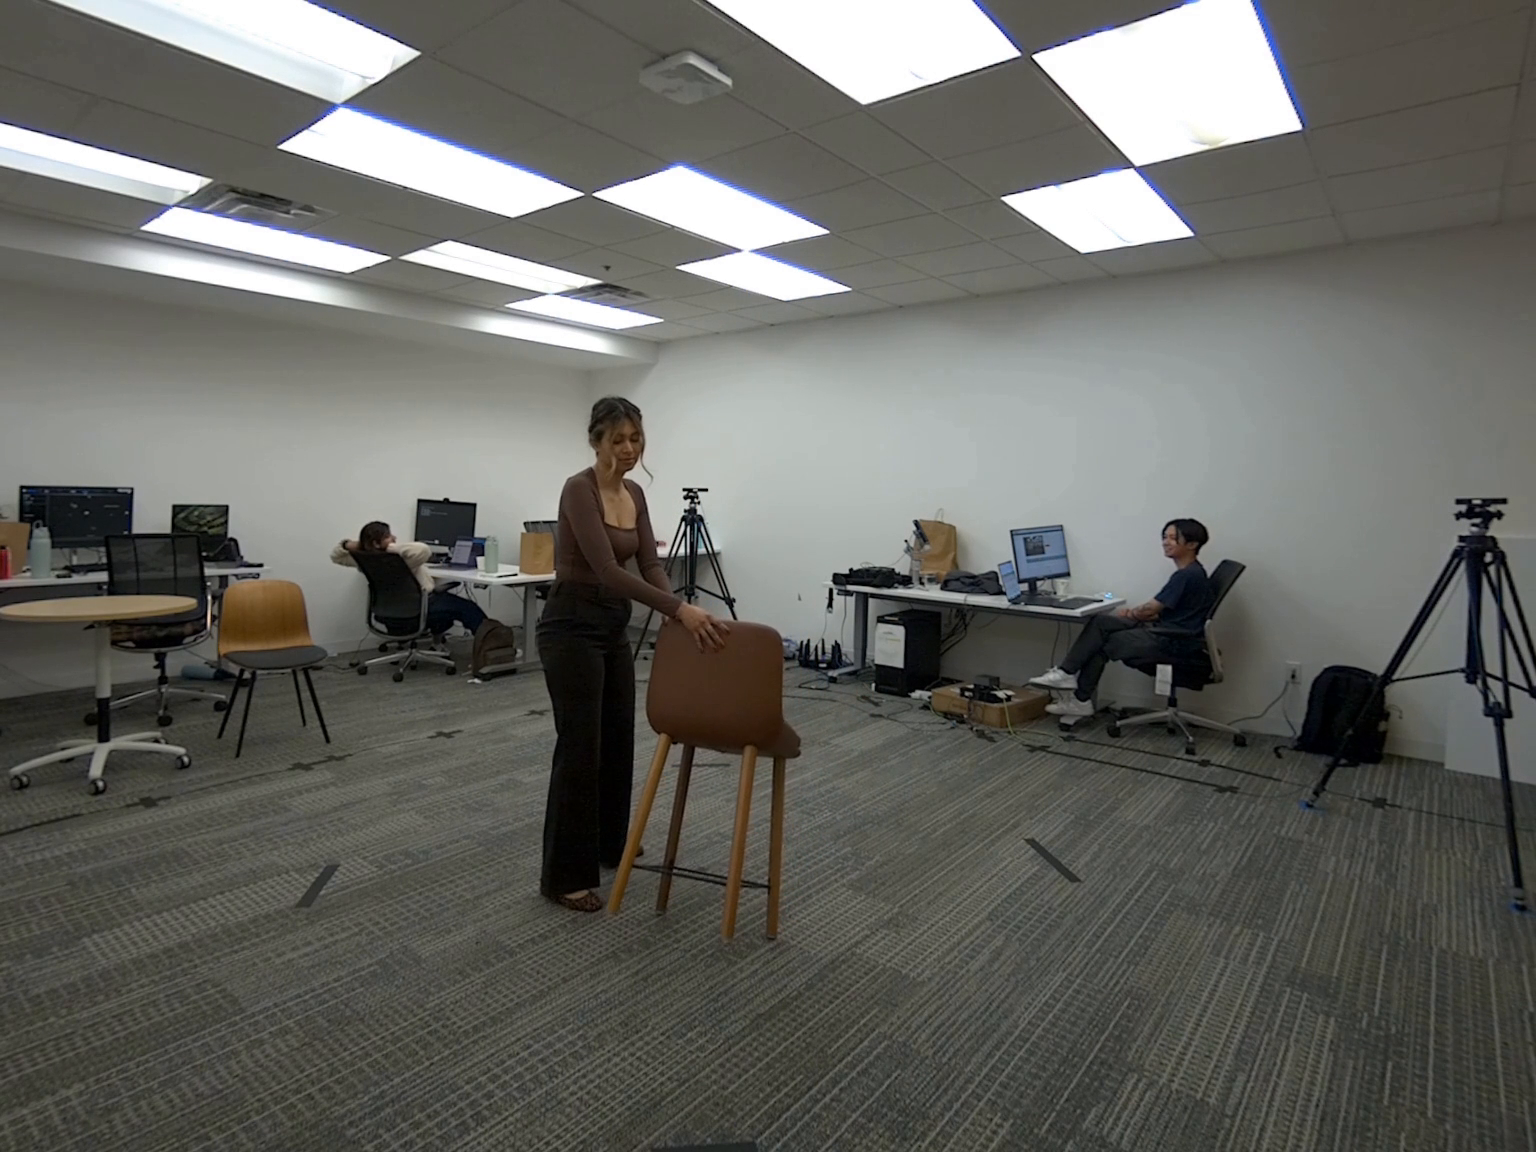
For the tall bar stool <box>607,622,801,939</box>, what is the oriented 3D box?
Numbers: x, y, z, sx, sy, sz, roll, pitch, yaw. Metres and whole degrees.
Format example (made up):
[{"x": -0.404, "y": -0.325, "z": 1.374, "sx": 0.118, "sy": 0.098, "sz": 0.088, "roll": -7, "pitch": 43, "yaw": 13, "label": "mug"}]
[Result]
[{"x": -0.167, "y": 0.625, "z": 2.661, "sx": 0.466, "sy": 0.902, "sz": 0.451, "roll": 1, "pitch": -19, "yaw": 19, "label": "tall bar stool"}]
